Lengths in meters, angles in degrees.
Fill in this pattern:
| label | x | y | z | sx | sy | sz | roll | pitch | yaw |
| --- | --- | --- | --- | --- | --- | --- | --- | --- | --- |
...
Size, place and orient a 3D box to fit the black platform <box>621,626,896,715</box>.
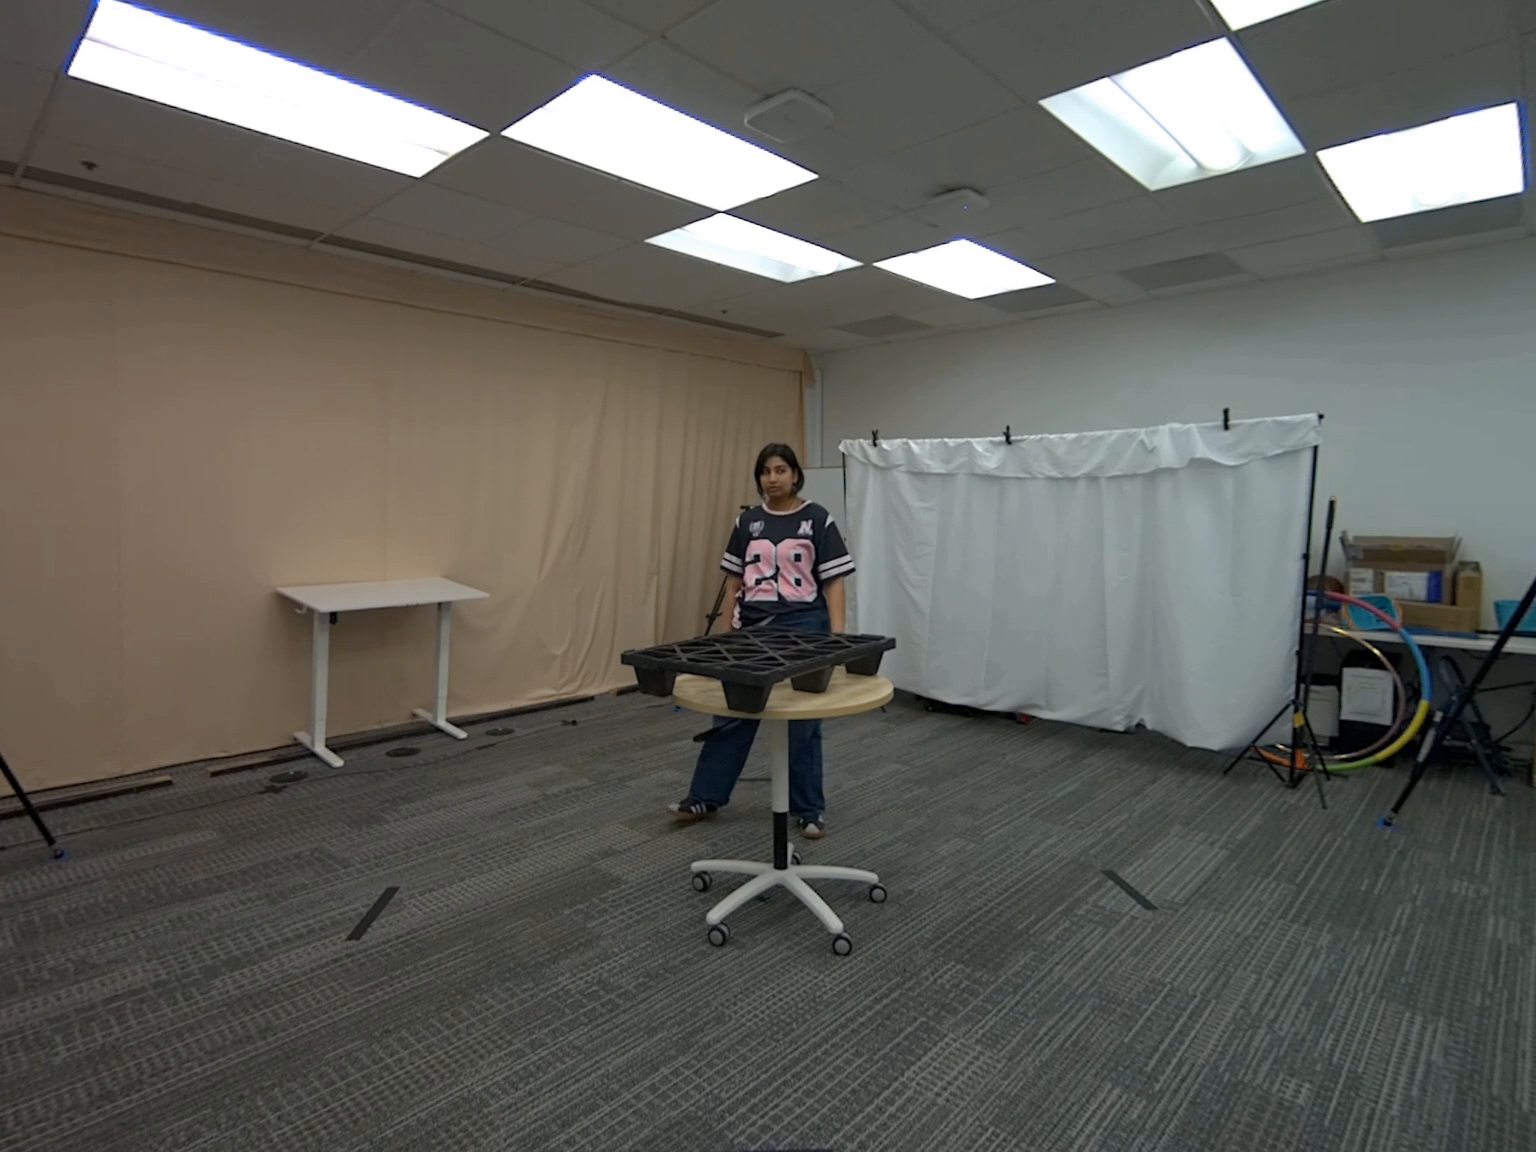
| label | x | y | z | sx | sy | sz | roll | pitch | yaw |
| --- | --- | --- | --- | --- | --- | --- | --- | --- | --- |
| black platform | -0.020 | 0.307 | 2.883 | 0.625 | 0.143 | 0.781 | 2 | 5 | 39 |
